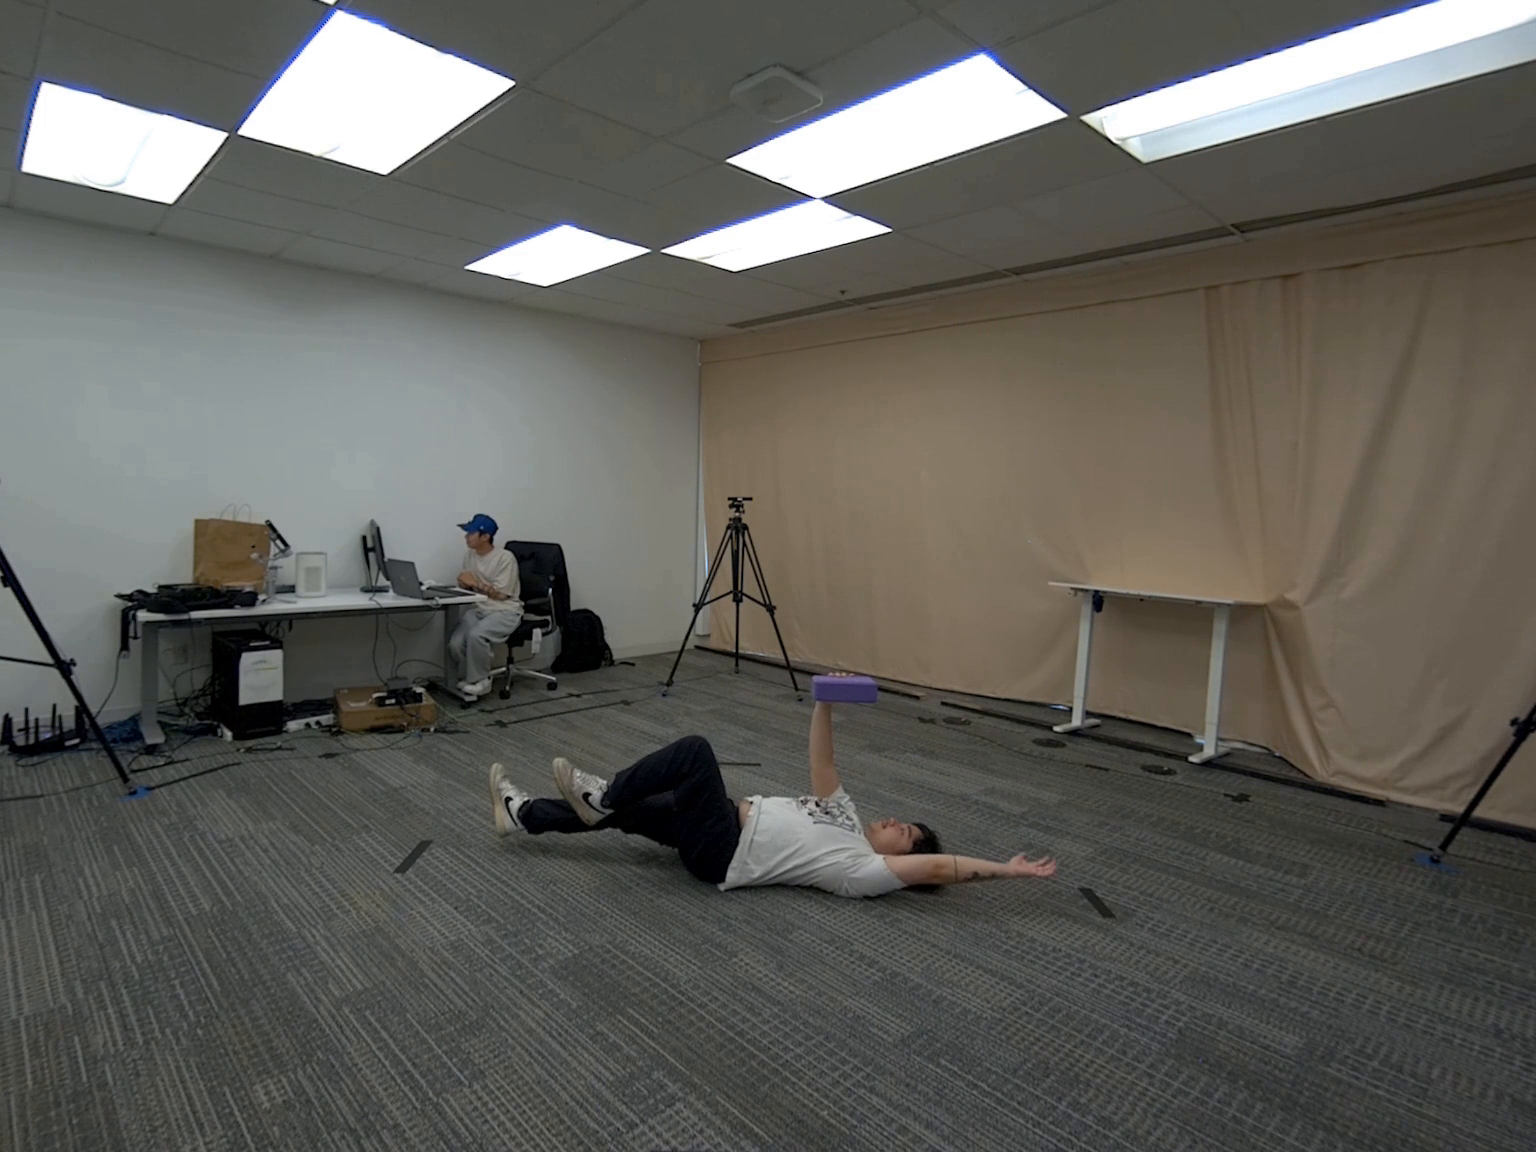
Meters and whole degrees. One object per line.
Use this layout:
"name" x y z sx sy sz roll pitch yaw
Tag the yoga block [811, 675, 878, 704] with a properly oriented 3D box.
"yoga block" 0.277 0.422 3.130 0.230 0.076 0.148 1 -1 3
